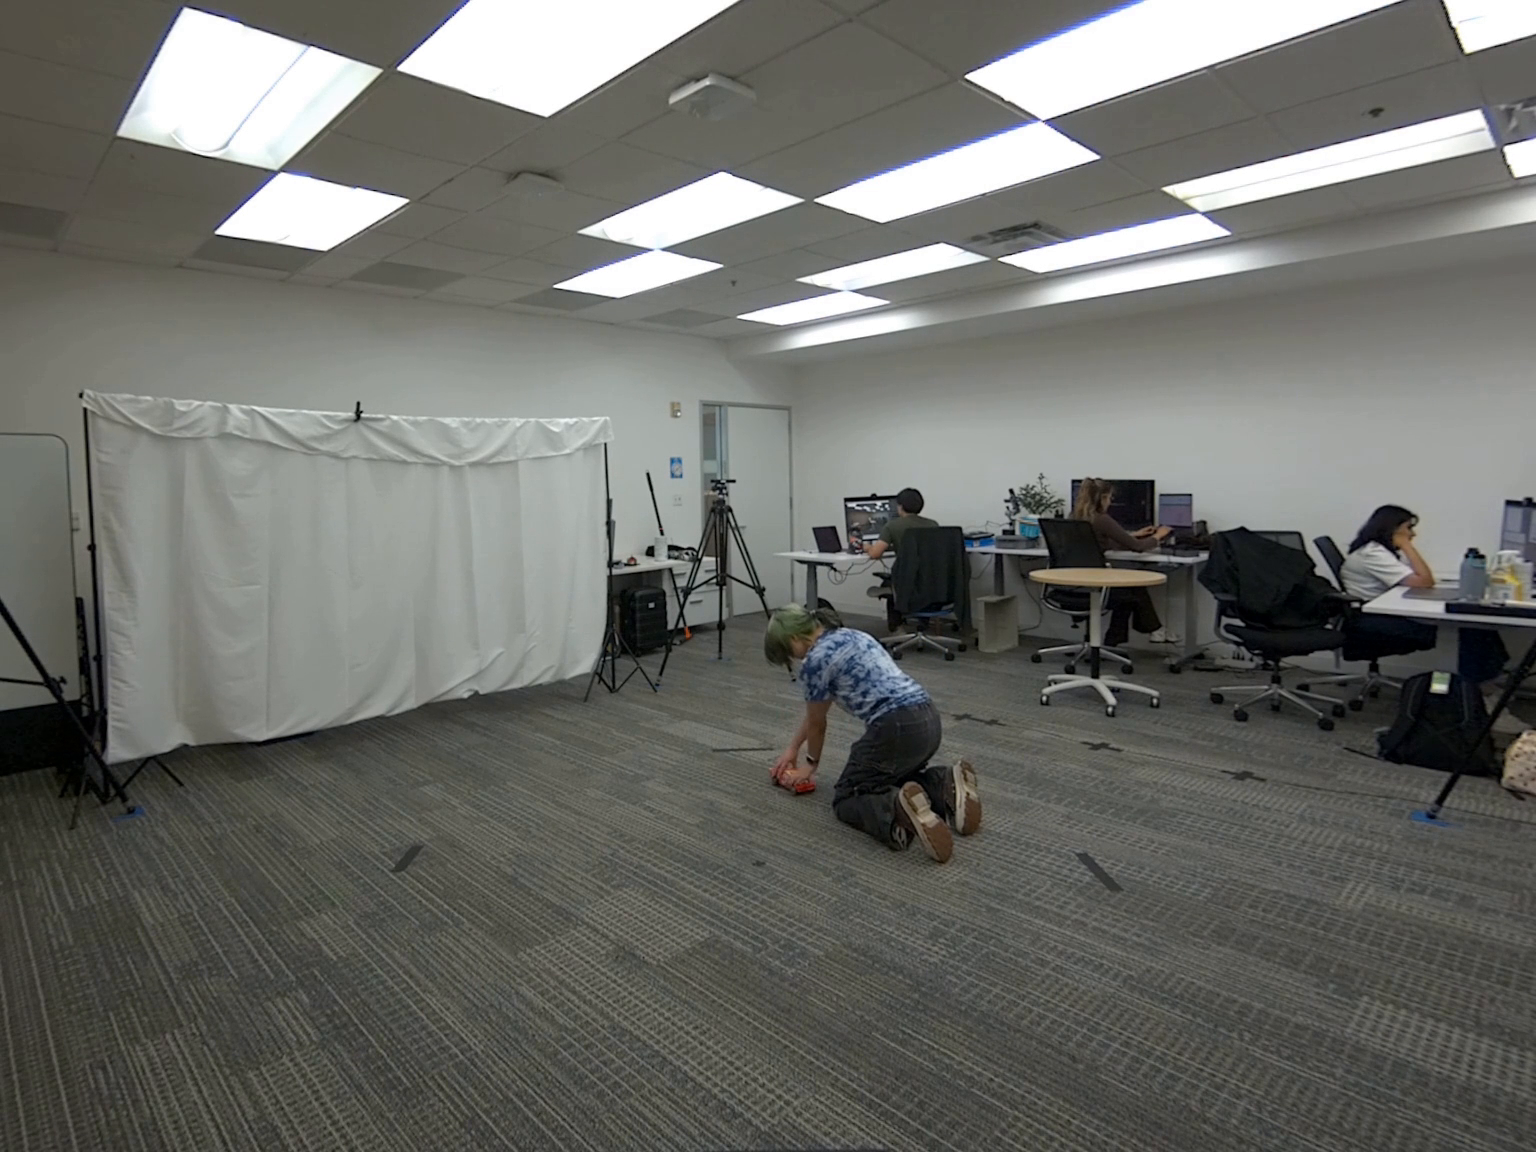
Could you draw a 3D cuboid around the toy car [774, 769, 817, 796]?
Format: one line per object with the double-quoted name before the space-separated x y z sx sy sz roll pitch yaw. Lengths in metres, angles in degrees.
"toy car" 0.107 0.929 3.889 0.127 0.082 0.263 -2 16 -31
